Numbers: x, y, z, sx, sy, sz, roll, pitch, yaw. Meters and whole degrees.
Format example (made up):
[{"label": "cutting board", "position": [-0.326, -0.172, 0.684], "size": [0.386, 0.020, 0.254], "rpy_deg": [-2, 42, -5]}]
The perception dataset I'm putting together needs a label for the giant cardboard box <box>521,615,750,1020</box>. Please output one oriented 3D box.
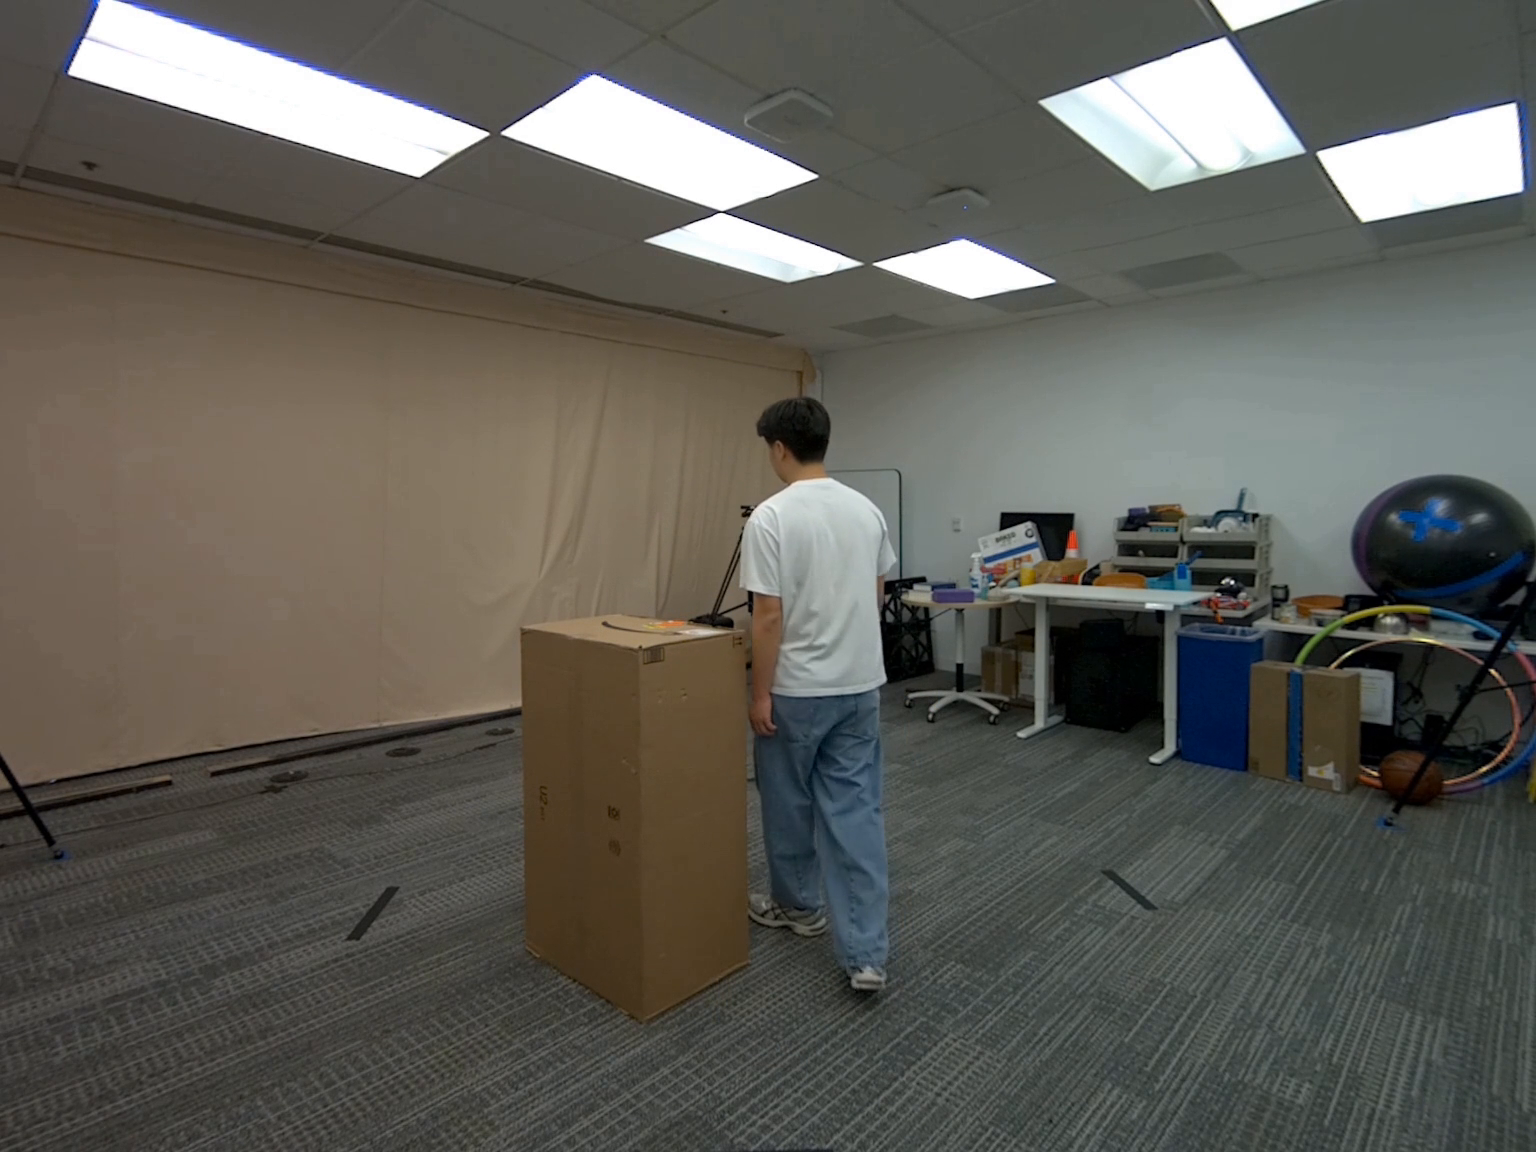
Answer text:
[{"label": "giant cardboard box", "position": [-0.415, 0.671, 2.586], "size": [0.597, 1.024, 0.413], "rpy_deg": [3, 4, 43]}]
